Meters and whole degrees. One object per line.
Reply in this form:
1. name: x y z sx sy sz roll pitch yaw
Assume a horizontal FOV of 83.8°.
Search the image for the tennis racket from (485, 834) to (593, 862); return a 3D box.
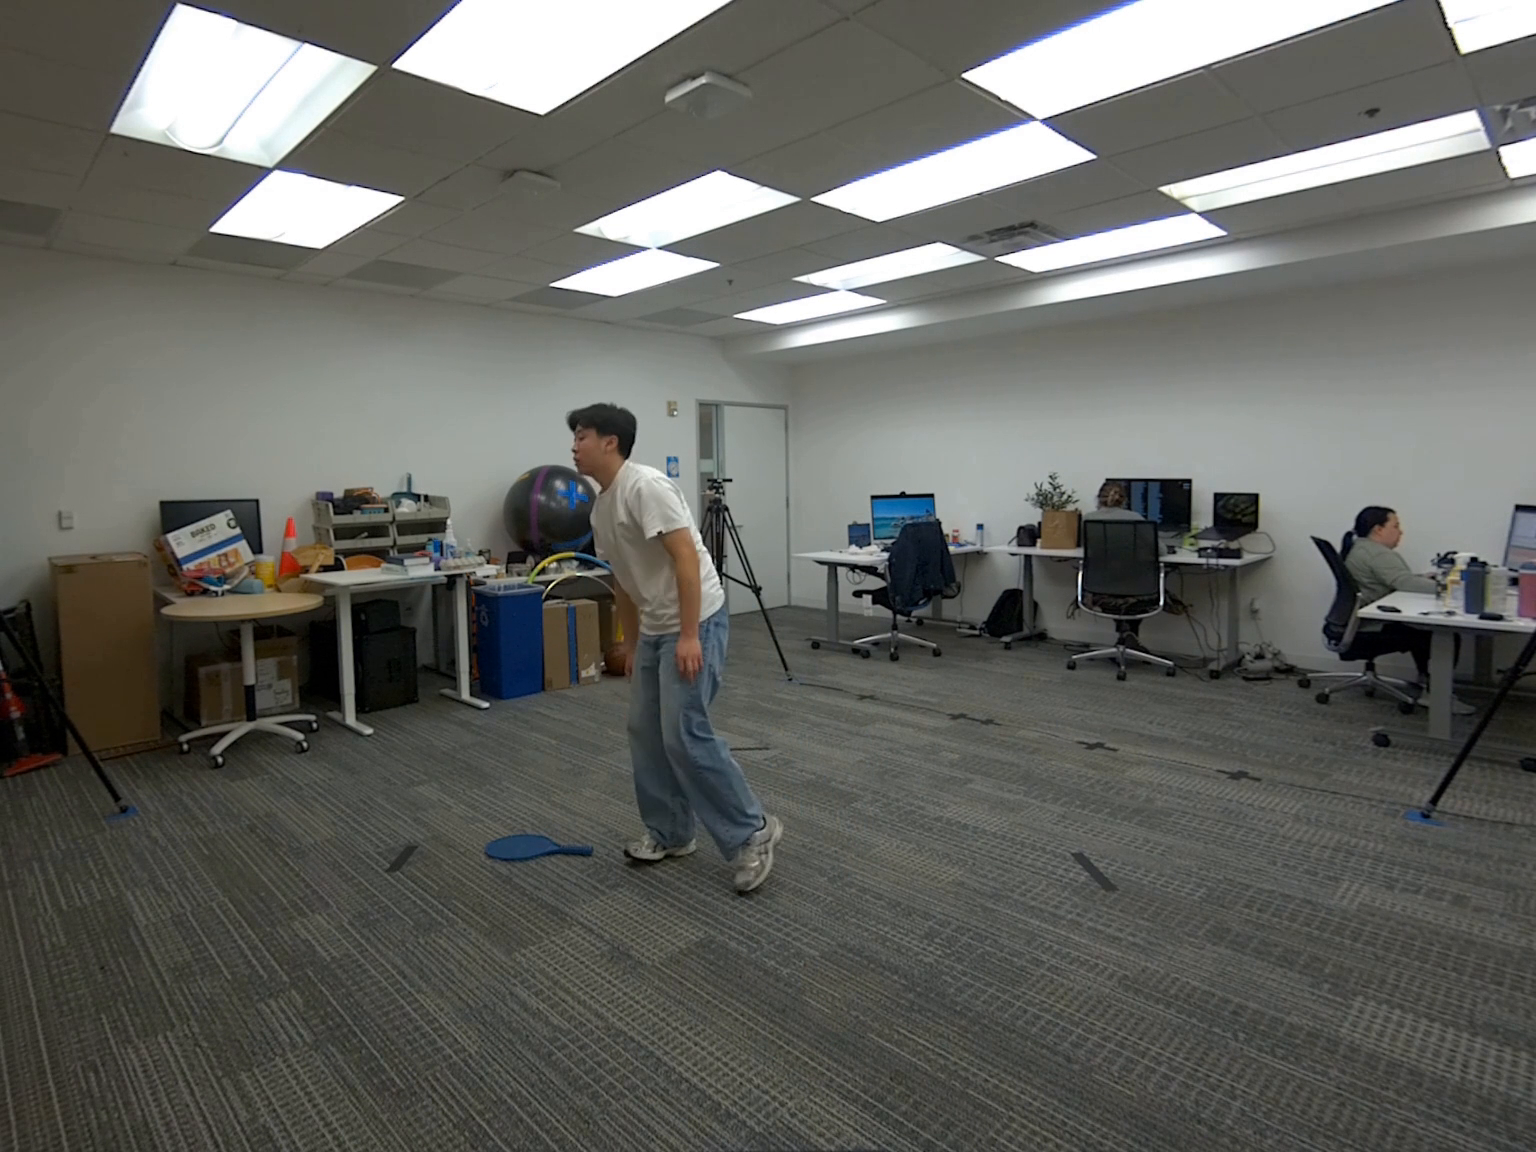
1. tennis racket: -0.867 1.034 3.243 0.439 0.031 0.211 -1 7 16
